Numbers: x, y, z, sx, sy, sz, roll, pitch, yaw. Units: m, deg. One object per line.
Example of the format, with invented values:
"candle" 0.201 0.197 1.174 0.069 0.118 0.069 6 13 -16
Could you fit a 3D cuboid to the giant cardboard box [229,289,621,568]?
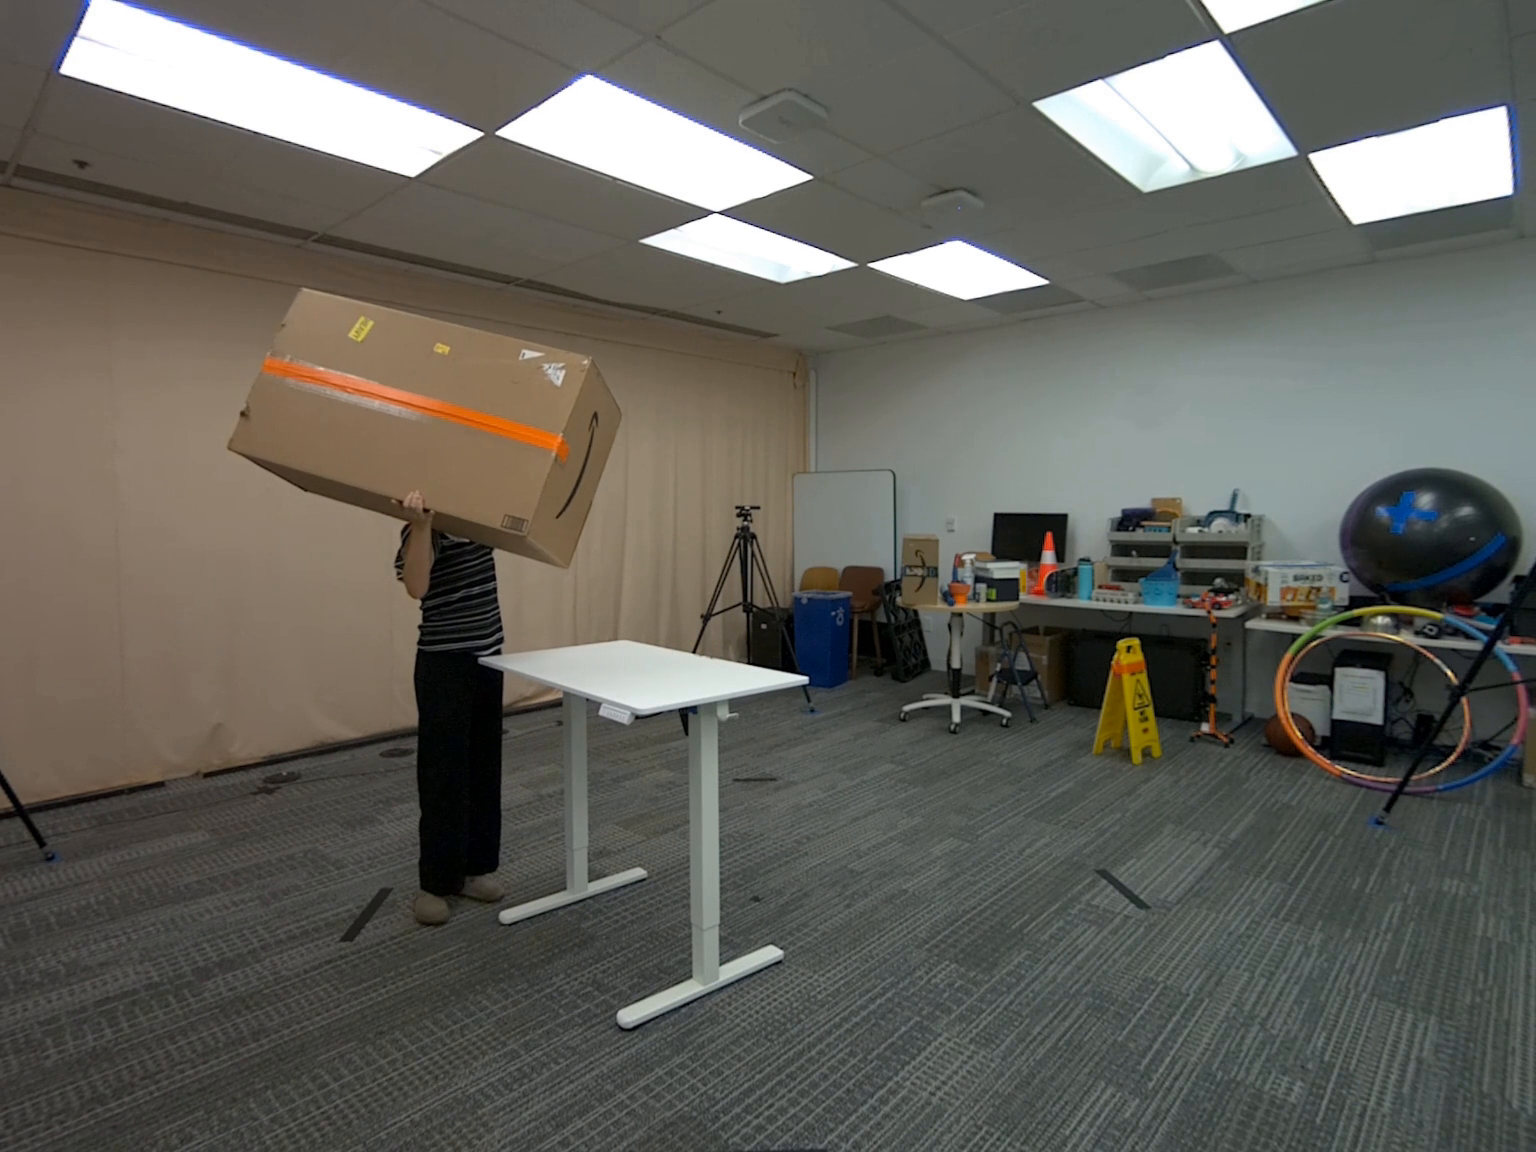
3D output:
"giant cardboard box" -1.081 -0.472 2.724 1.040 0.579 0.419 16 -13 11
